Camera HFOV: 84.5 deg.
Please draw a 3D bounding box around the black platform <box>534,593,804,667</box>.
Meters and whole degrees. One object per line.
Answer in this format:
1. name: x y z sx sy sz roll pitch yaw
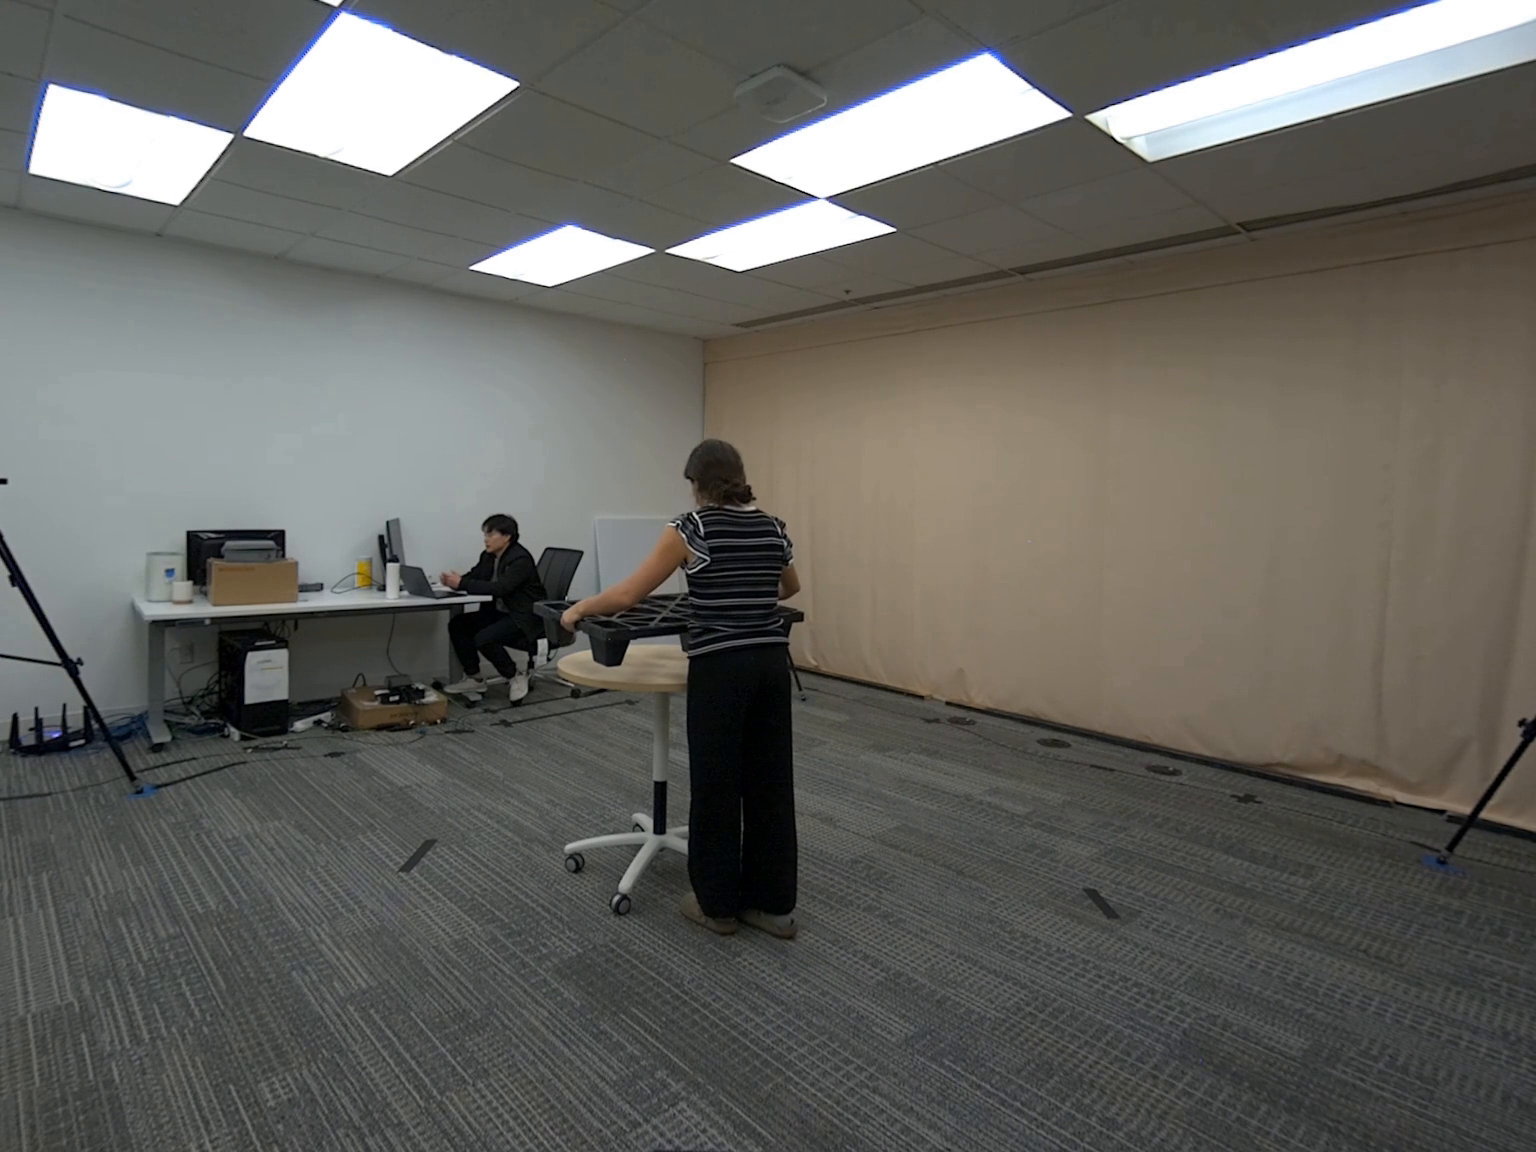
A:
1. black platform: -0.371 0.178 3.043 0.788 0.143 0.621 -3 8 -37
